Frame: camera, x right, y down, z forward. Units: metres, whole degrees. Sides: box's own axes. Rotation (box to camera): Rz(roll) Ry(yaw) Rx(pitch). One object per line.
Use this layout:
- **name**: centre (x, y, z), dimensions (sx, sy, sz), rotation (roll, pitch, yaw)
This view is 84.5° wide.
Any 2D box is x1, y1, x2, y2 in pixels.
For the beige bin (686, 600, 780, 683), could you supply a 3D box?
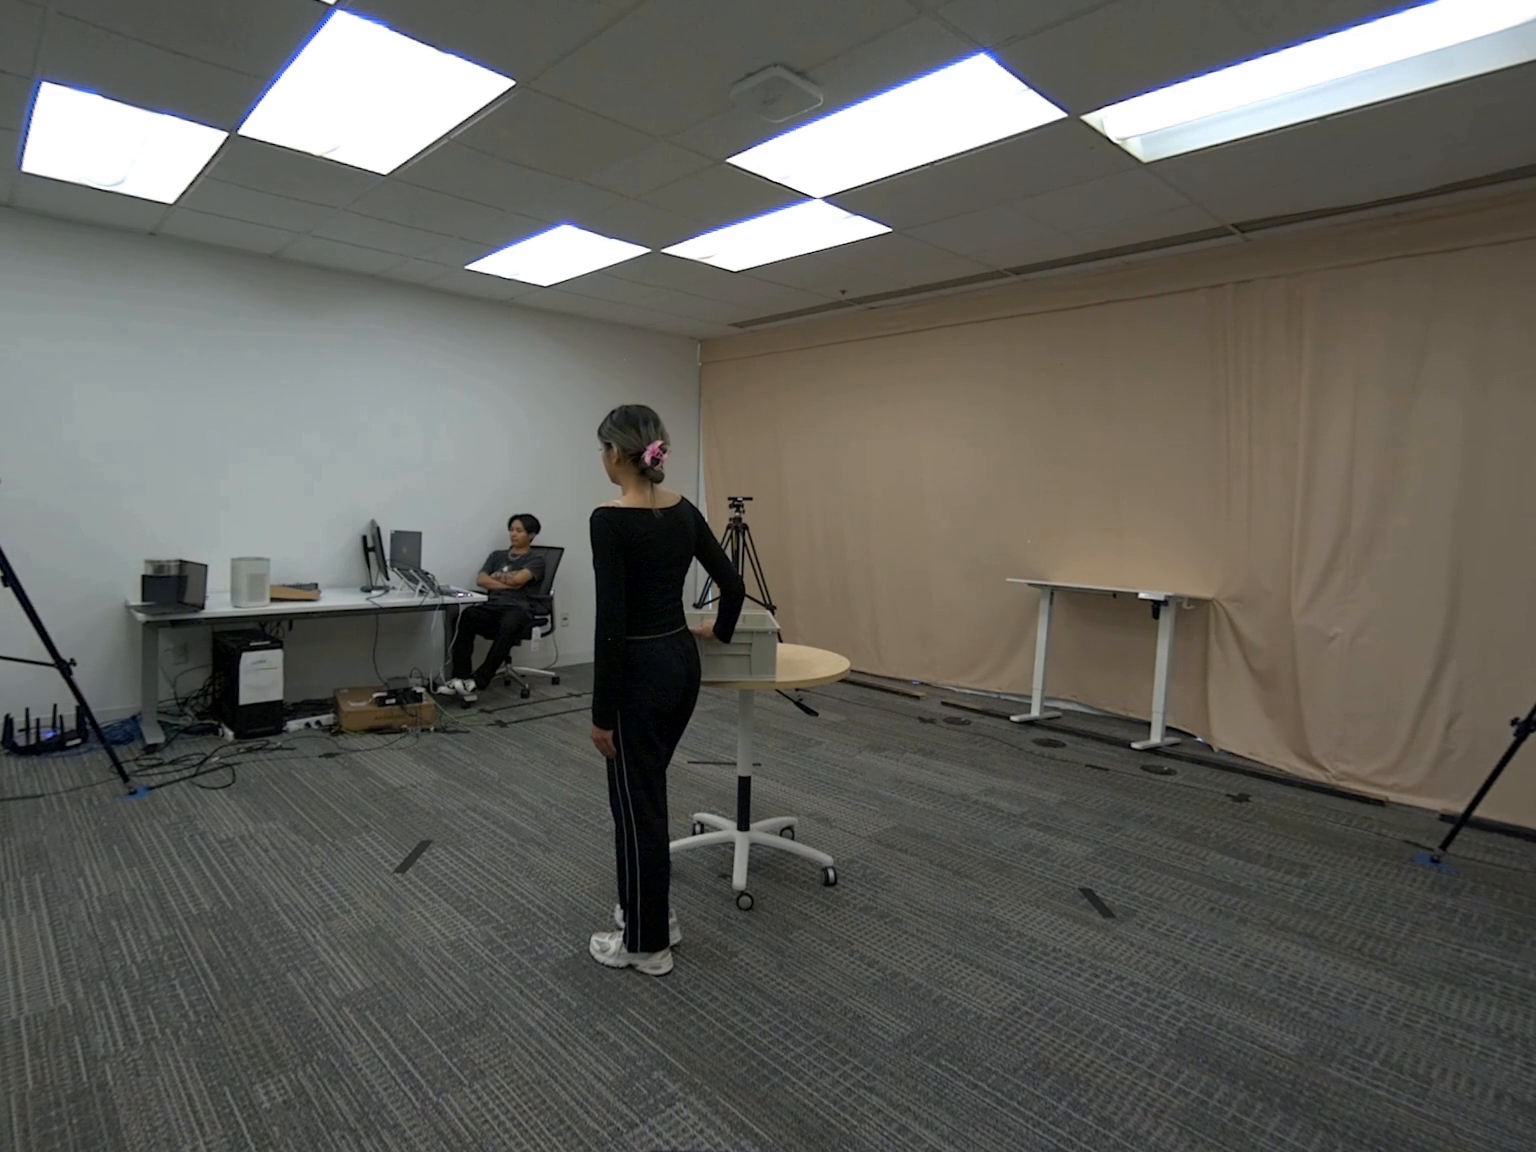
- **beige bin**: centre (-0.173, 0.230, 2.966), dimensions (0.376, 0.188, 0.426), rotation (0, 8, -4)
